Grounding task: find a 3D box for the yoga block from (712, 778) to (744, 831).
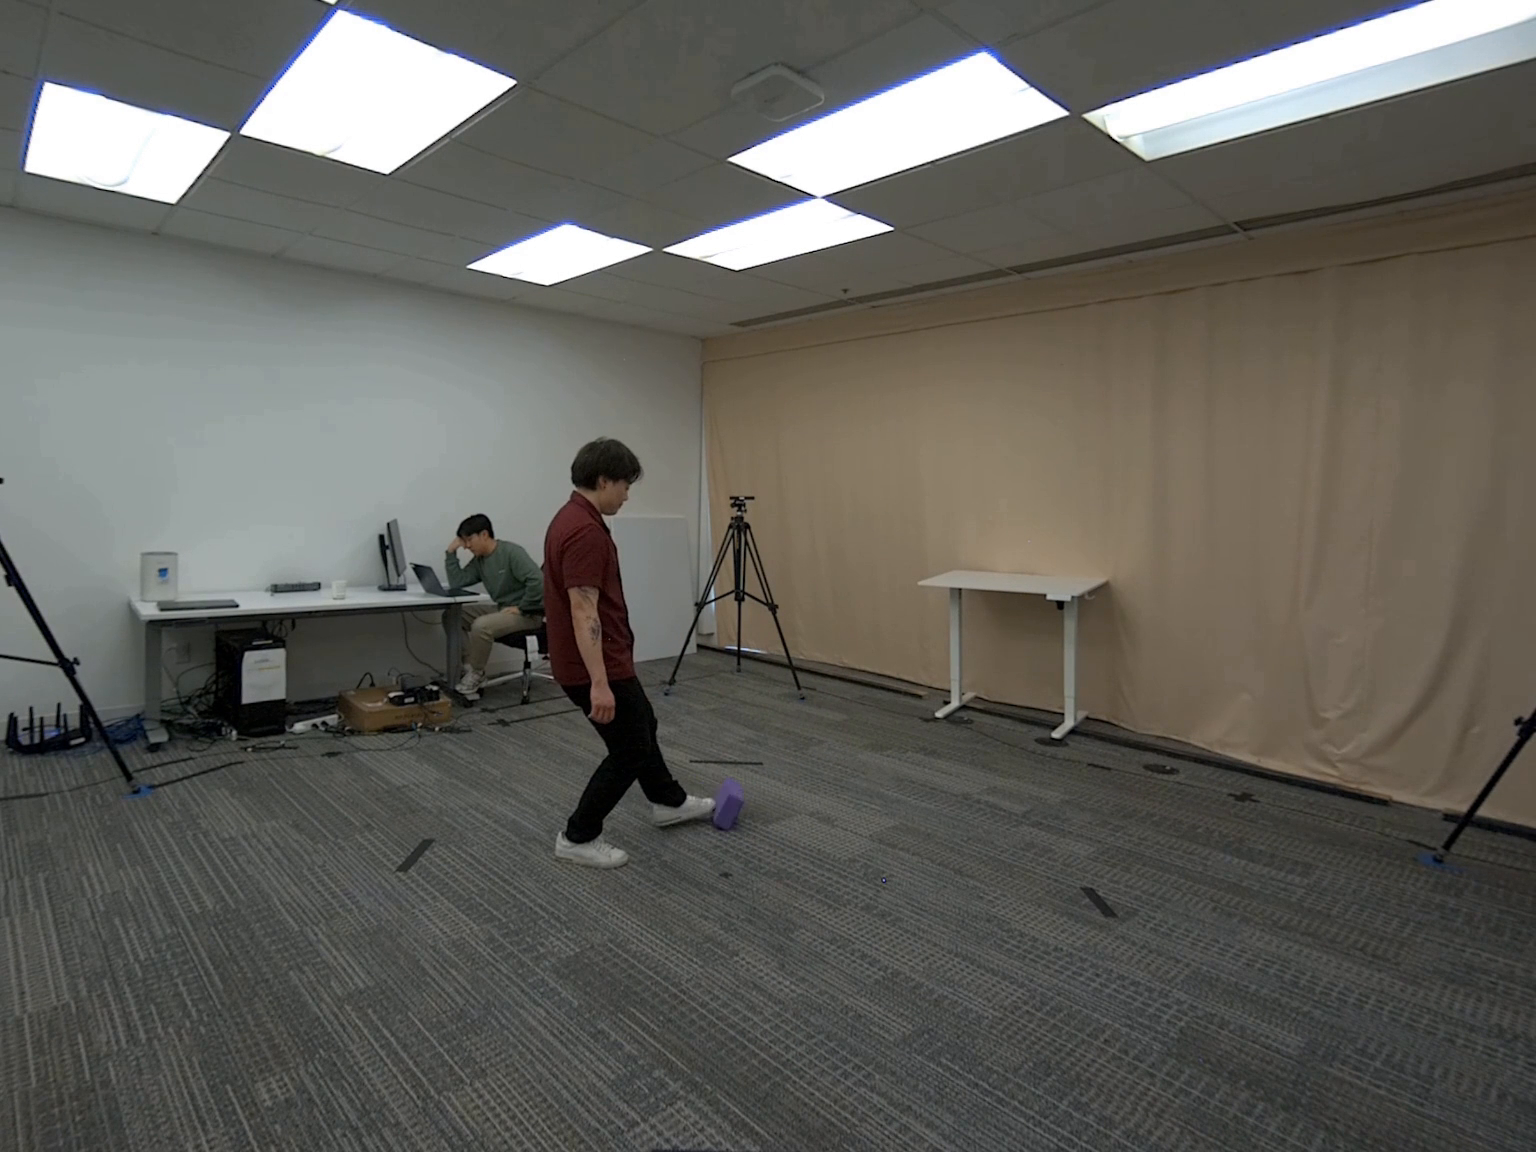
[{"bbox_3d":[-0.186,0.983,3.636,0.076,0.149,0.230,23,3,-5],"label":"yoga block"}]
